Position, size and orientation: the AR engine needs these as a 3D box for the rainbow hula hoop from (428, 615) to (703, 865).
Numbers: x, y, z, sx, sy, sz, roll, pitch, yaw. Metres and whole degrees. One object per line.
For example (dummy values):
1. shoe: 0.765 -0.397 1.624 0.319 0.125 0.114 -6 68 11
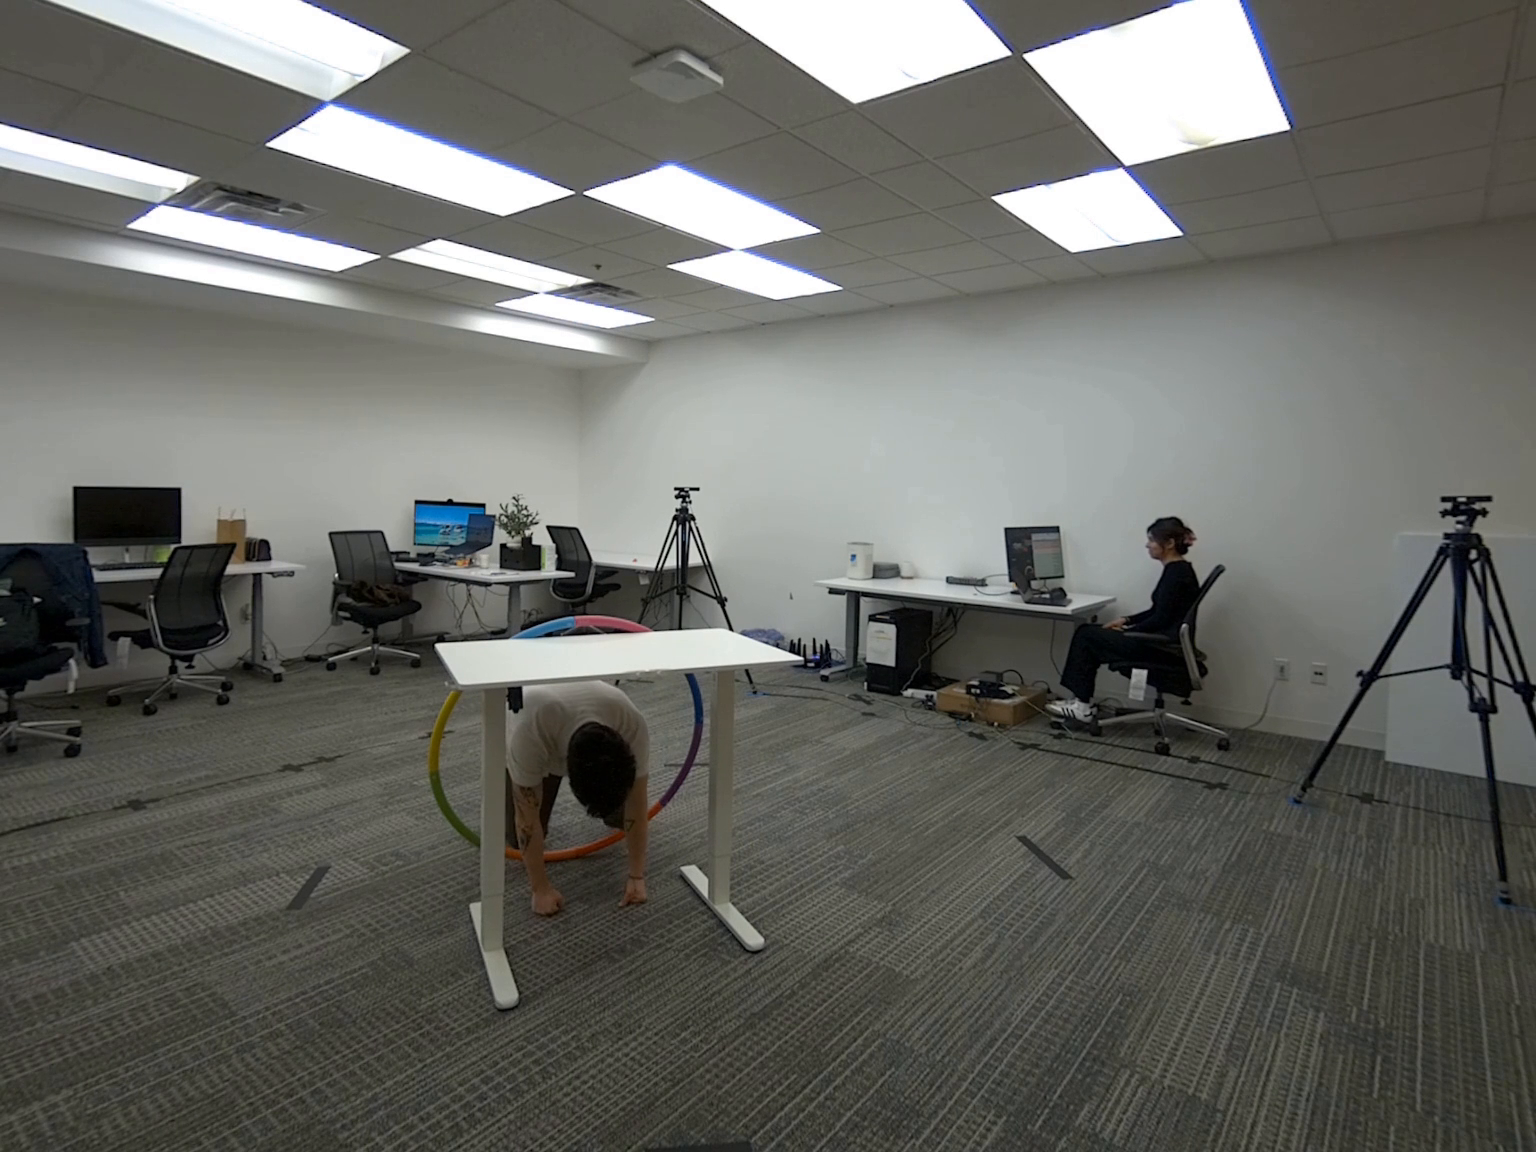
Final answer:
1. rainbow hula hoop: -0.701 0.593 3.028 0.955 0.965 0.037 -1 20 -25
